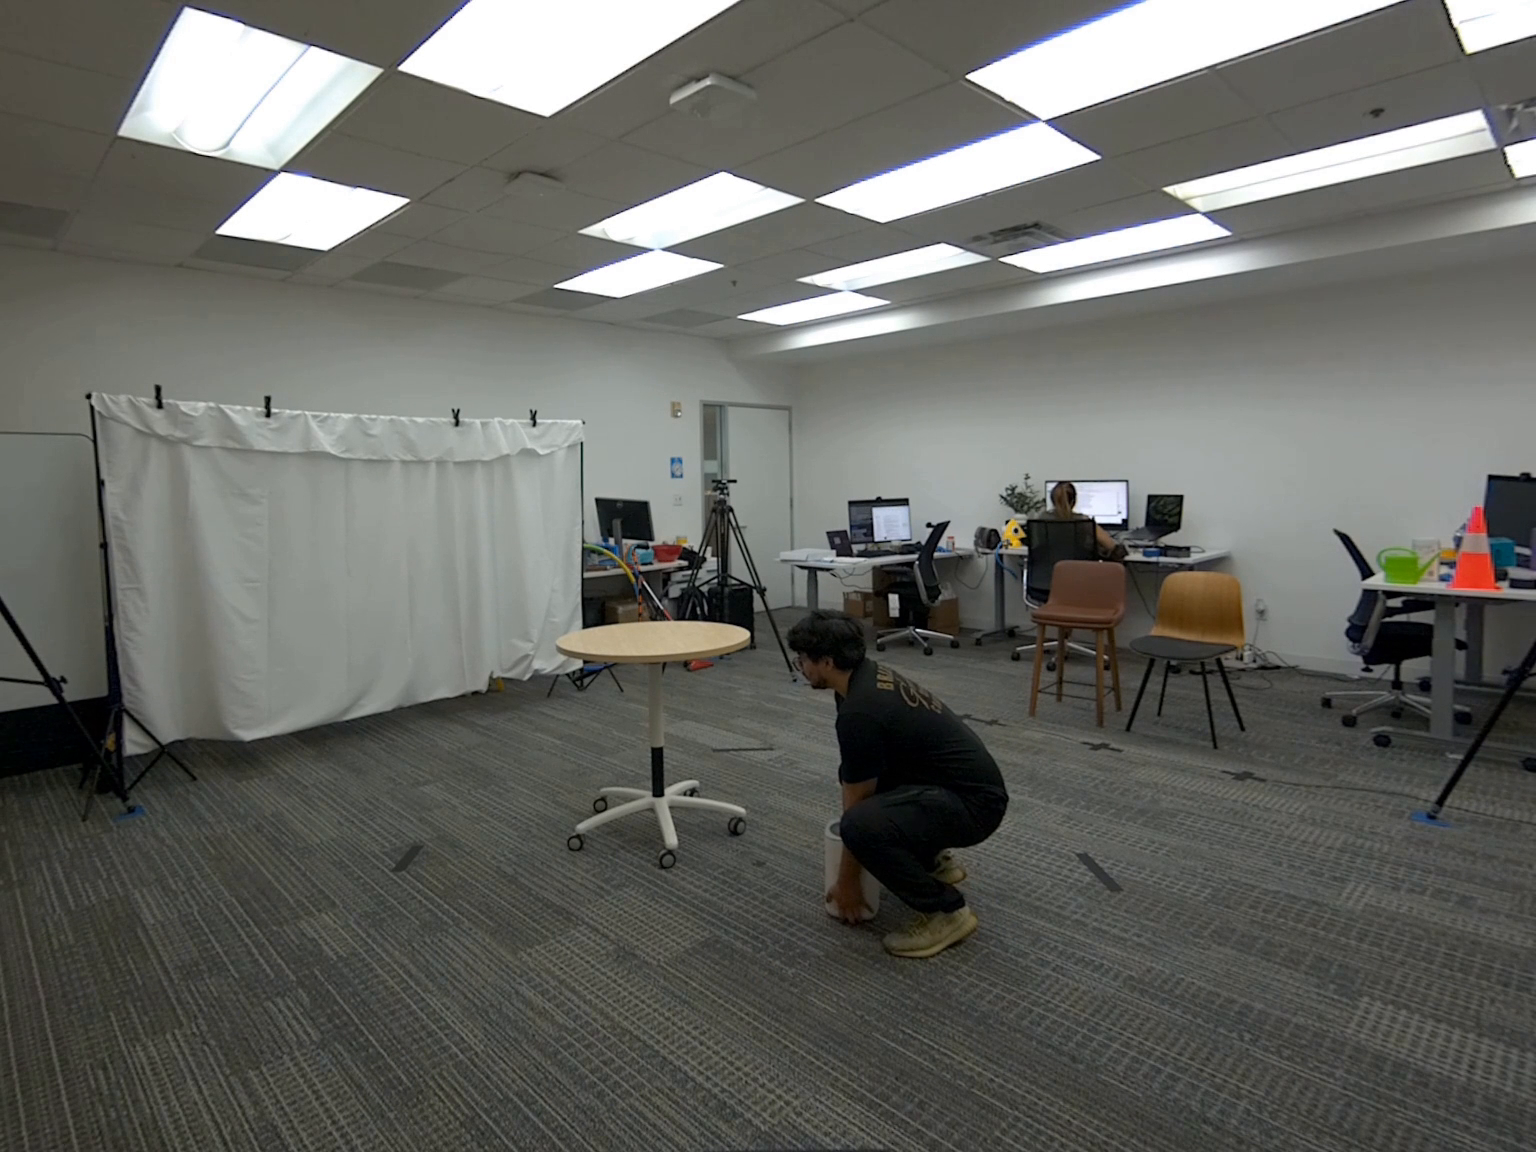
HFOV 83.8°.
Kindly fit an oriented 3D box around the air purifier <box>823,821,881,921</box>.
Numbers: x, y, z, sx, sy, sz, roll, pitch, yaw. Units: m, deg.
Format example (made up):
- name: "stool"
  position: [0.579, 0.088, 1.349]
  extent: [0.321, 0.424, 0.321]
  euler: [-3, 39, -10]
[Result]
- name: "air purifier"
  position: [0.286, 0.954, 2.746]
  extent: [0.176, 0.261, 0.166]
  euler: [1, 5, 14]
